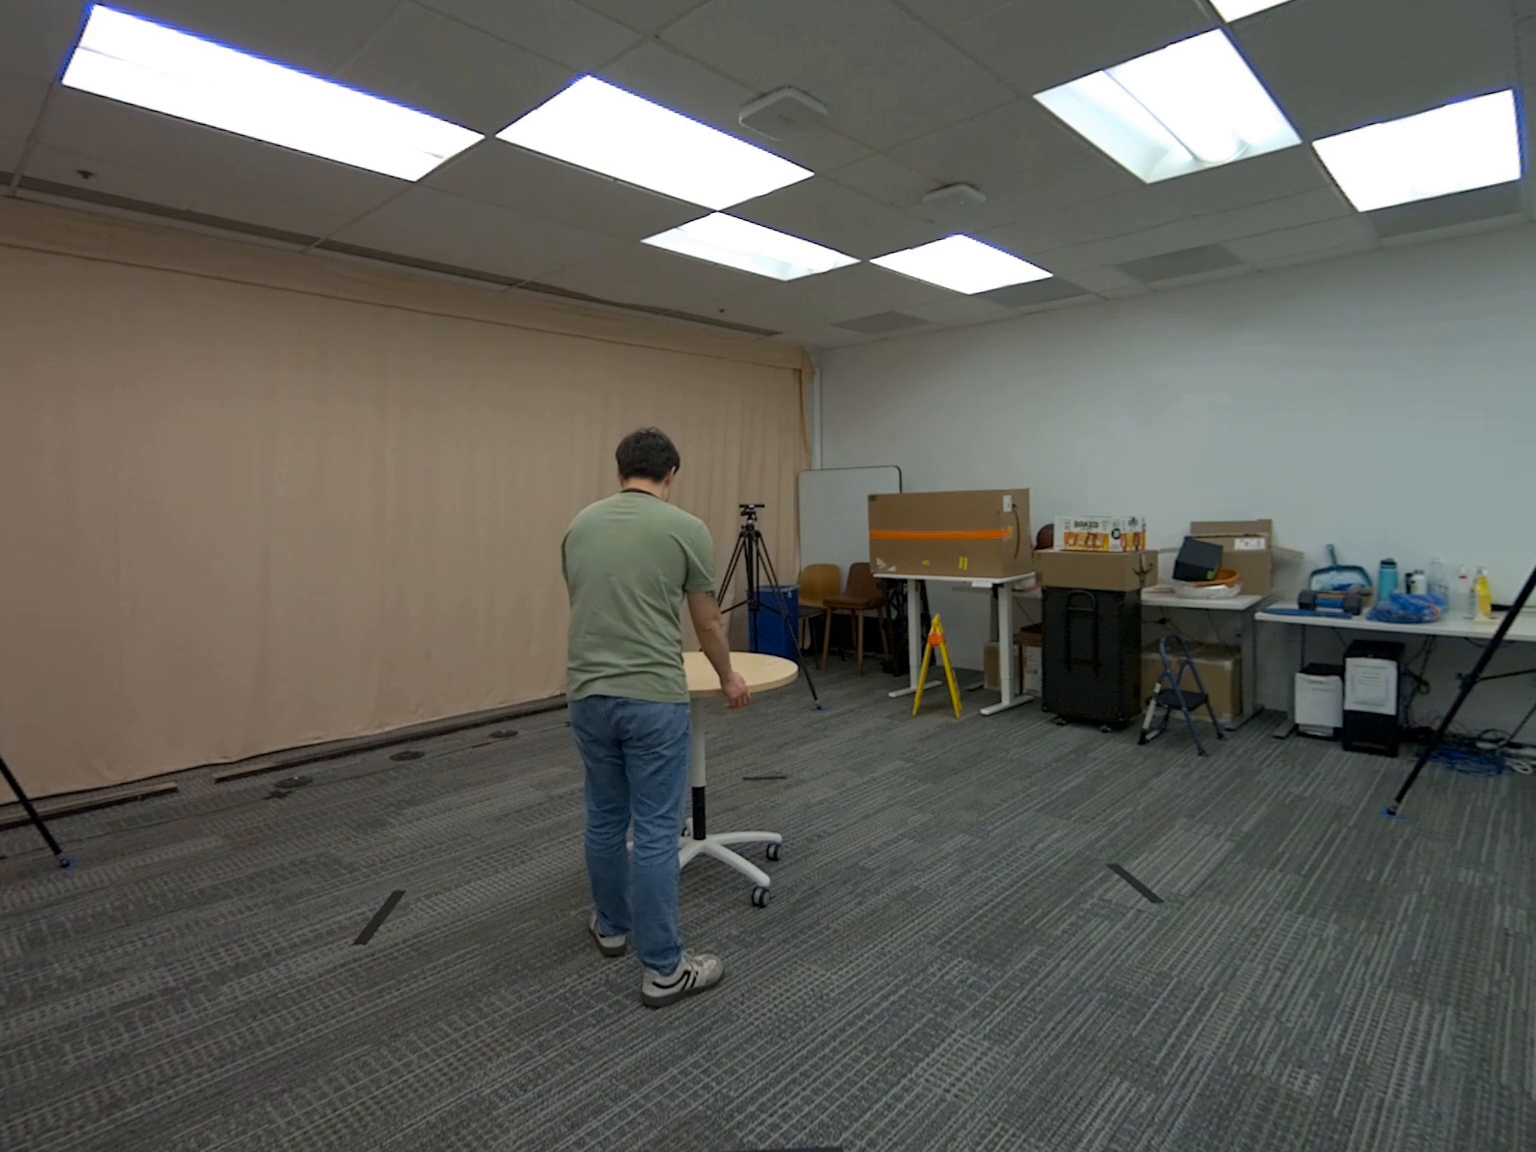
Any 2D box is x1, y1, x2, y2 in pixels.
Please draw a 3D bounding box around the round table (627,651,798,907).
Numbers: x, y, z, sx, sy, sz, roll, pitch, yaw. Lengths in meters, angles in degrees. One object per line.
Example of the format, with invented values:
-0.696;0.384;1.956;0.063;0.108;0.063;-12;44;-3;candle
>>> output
-0.256;0.740;3.155;0.763;0.792;0.766;-2;3;-2;round table
